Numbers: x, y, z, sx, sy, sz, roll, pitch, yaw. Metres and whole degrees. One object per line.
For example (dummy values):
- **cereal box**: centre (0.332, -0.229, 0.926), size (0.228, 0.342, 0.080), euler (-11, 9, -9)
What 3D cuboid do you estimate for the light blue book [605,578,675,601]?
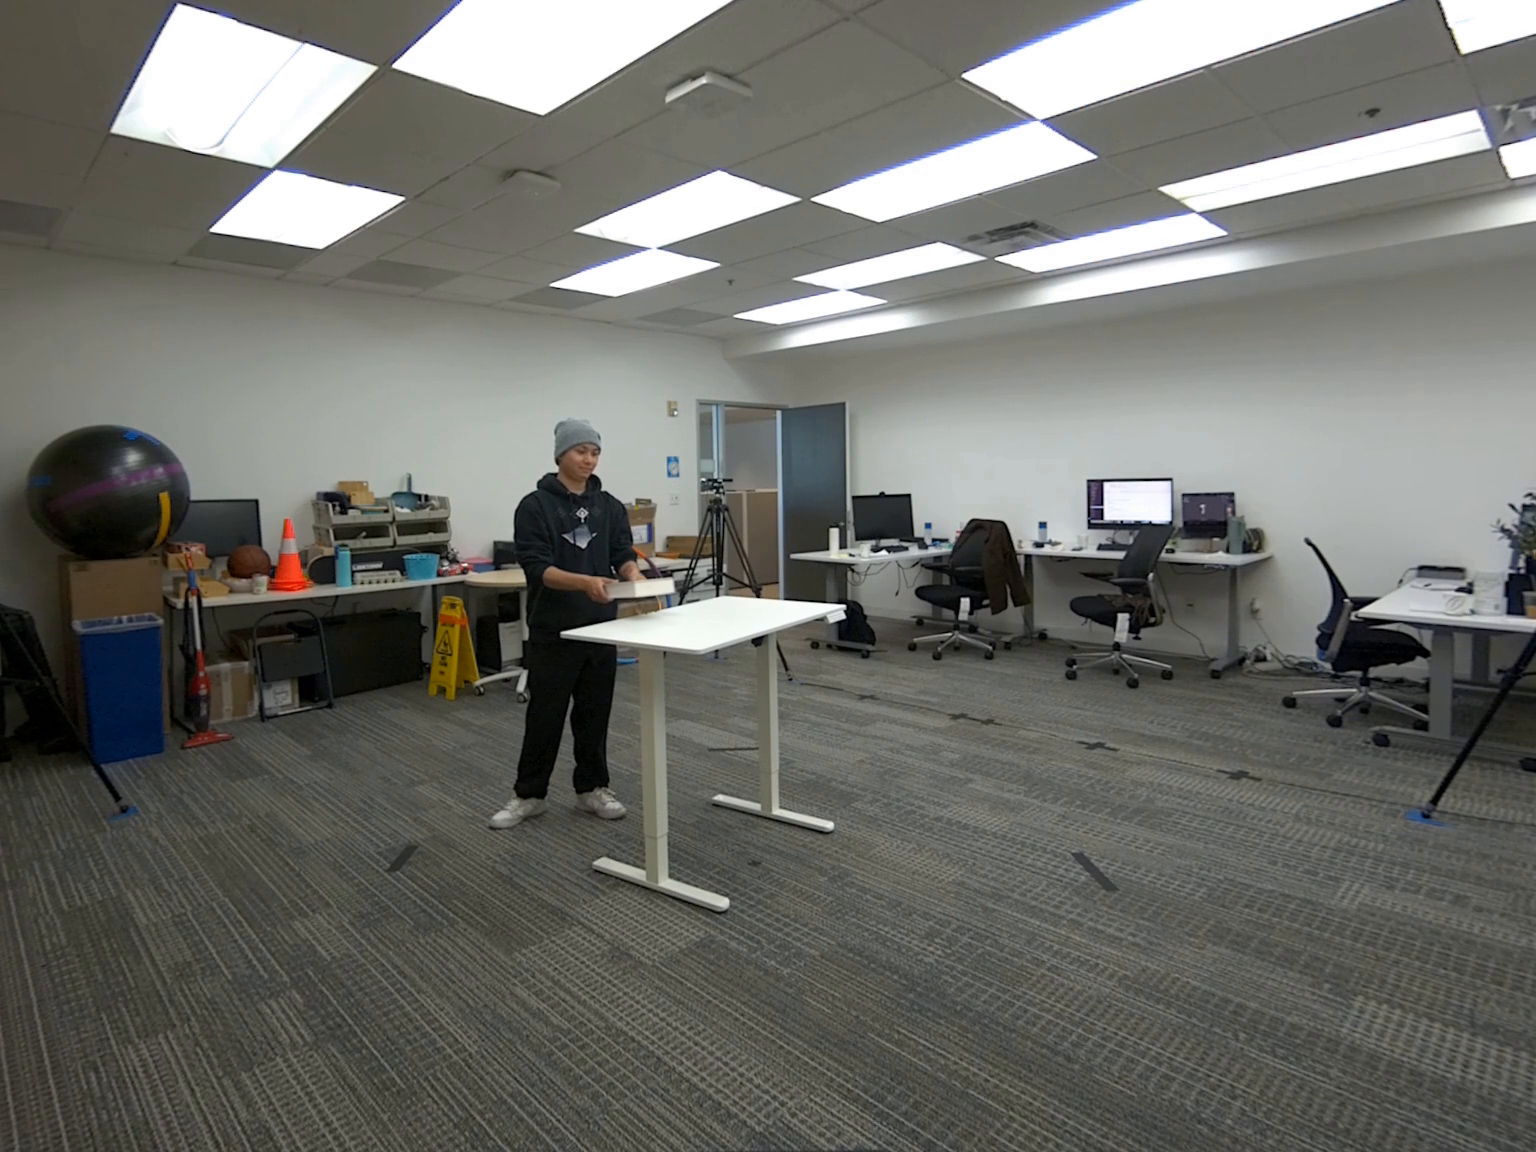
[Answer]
- **light blue book**: centre (-0.518, 0.053, 3.279), size (0.186, 0.059, 0.267), euler (-6, 0, -42)
